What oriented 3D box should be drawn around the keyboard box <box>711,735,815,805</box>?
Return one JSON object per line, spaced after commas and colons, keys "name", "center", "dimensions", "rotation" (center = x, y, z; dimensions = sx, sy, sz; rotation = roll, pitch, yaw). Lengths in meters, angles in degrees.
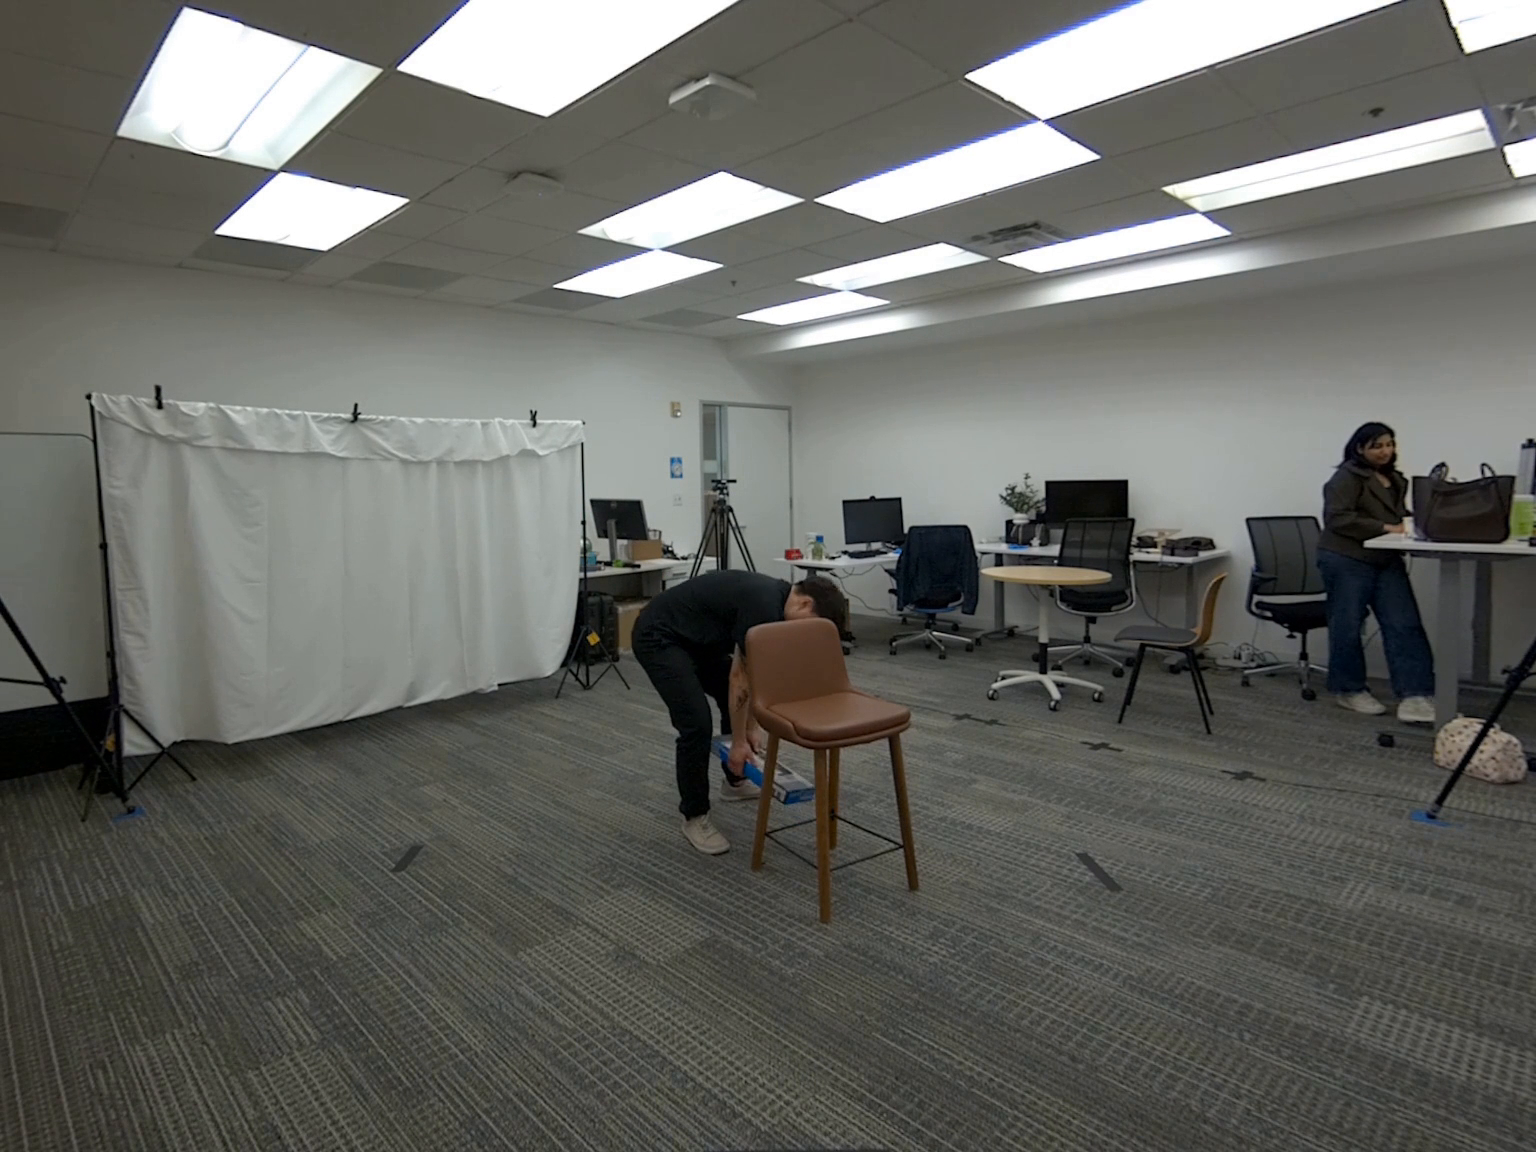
{"name": "keyboard box", "center": [-0.017, 0.756, 3.347], "dimensions": [0.453, 0.059, 0.170], "rotation": [25, 11, 40]}
